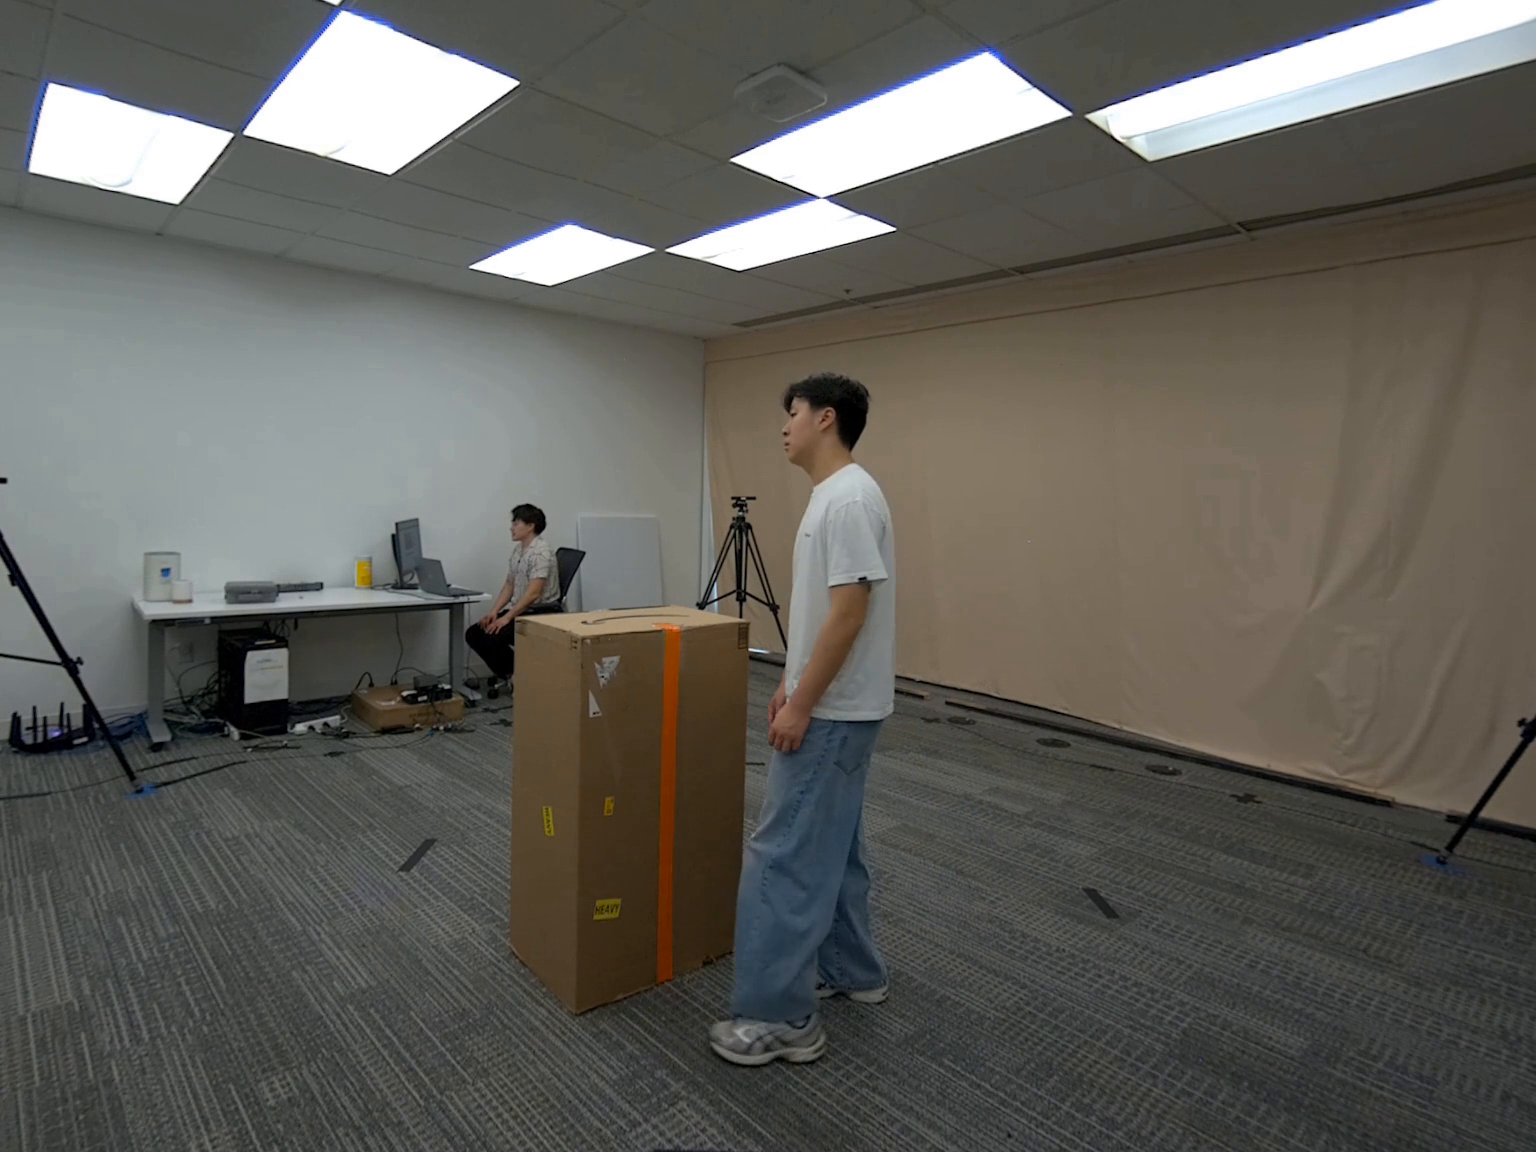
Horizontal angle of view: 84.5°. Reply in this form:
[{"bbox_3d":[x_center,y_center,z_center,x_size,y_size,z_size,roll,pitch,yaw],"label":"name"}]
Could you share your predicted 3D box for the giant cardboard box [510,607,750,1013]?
[{"bbox_3d":[-0.422,0.641,2.558,0.564,1.023,0.437,-1,4,-39],"label":"giant cardboard box"}]
